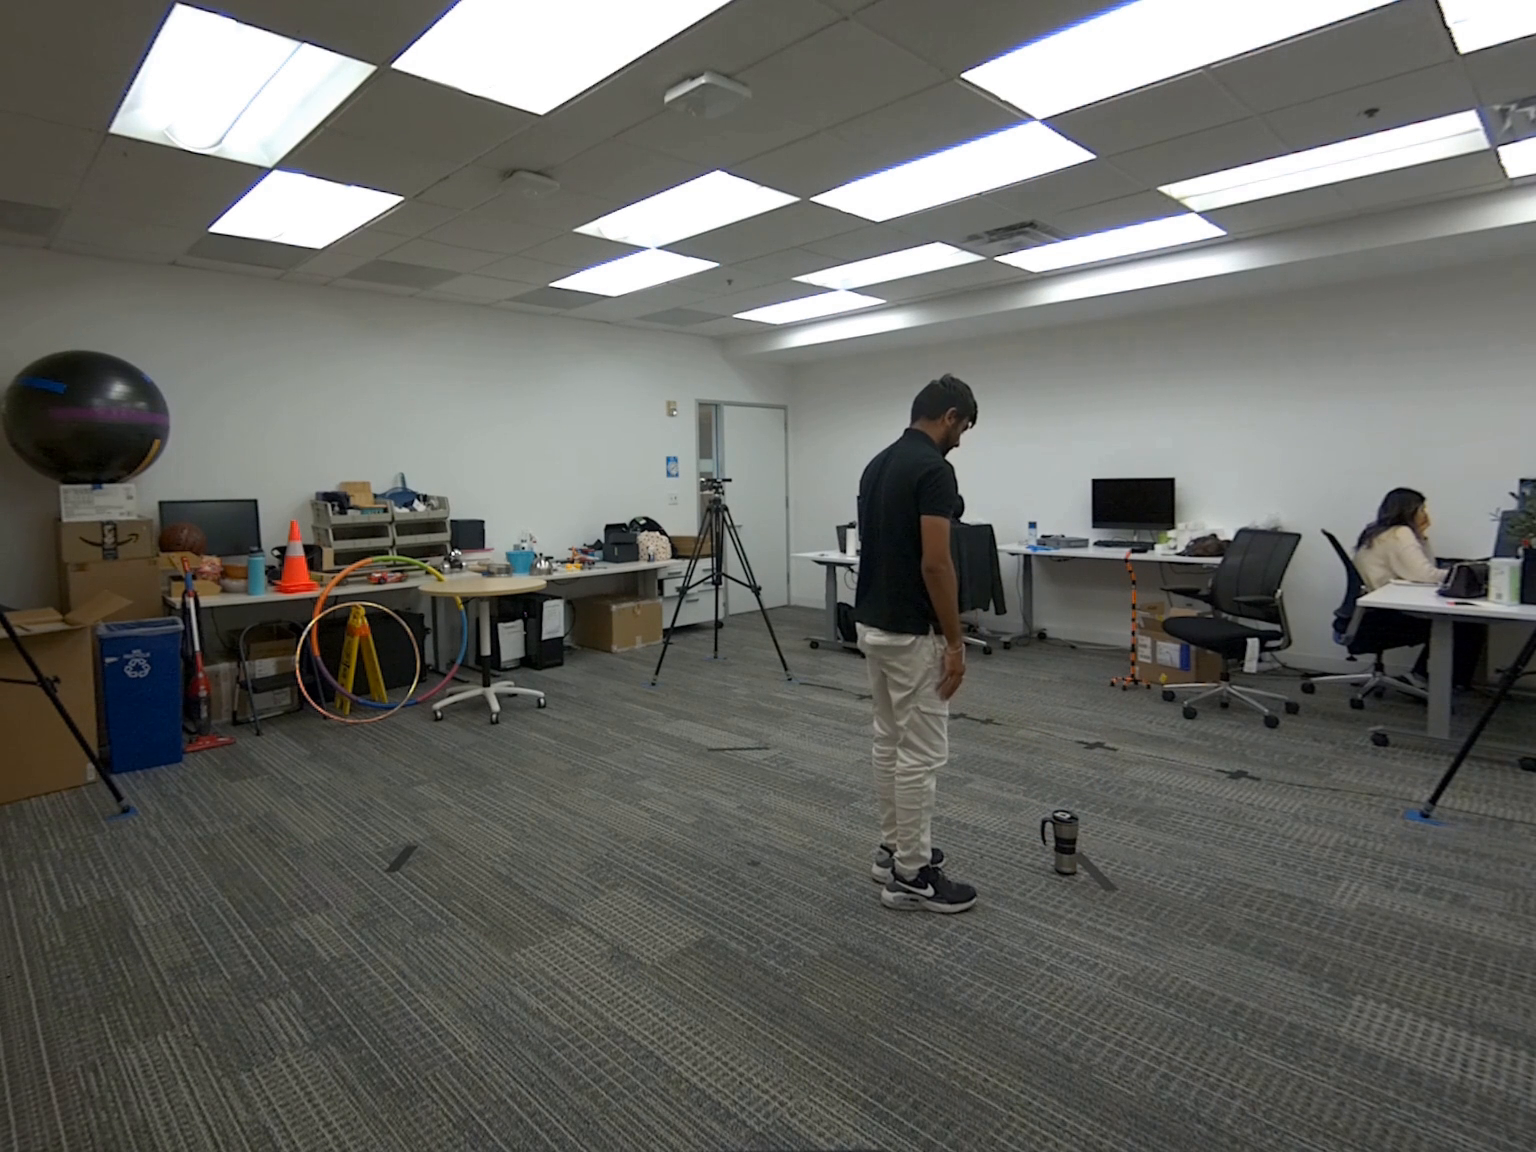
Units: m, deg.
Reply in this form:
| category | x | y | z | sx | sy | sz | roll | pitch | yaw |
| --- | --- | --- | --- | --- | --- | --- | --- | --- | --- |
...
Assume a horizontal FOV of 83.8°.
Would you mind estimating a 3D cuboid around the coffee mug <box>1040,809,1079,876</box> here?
| category | x | y | z | sx | sy | sz | roll | pitch | yaw |
| --- | --- | --- | --- | --- | --- | --- | --- | --- | --- |
| coffee mug | 1.029 | 0.935 | 3.010 | 0.126 | 0.201 | 0.086 | 6 | 11 | 41 |
